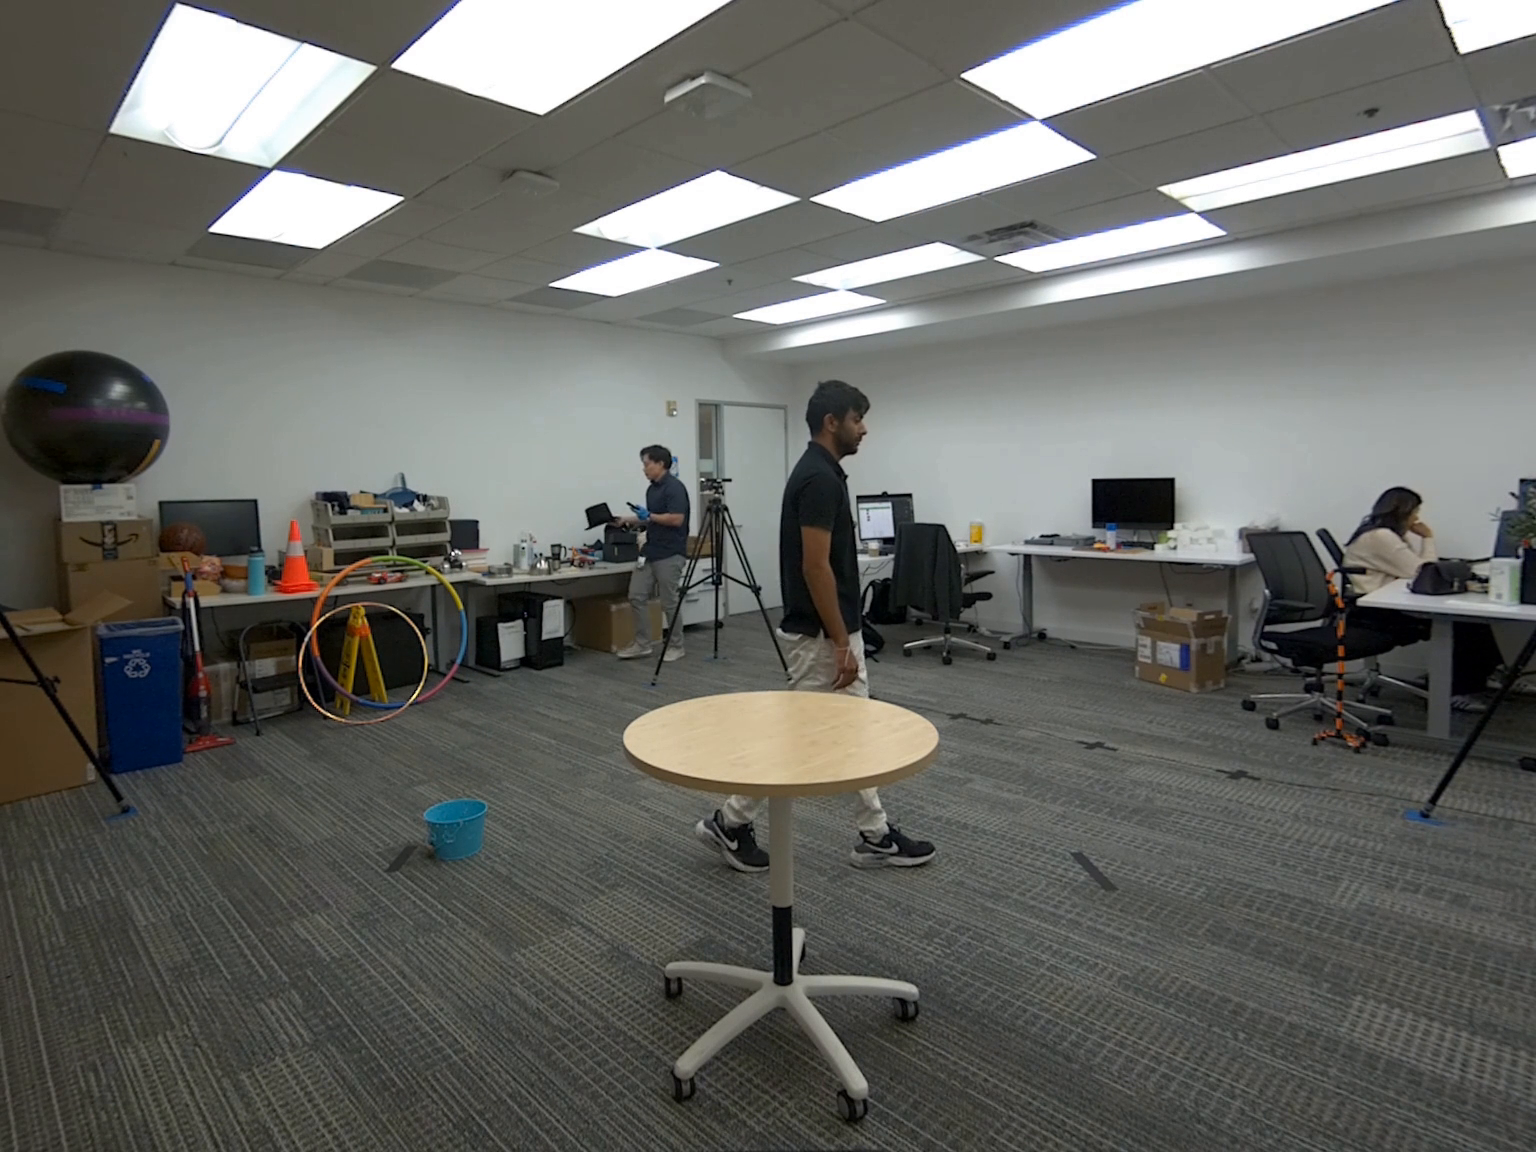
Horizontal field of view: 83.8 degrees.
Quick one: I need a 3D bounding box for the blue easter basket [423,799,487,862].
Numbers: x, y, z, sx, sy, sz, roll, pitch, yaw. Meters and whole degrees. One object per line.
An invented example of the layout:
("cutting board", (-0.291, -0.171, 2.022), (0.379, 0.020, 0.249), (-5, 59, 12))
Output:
("blue easter basket", (-1.192, 0.967, 3.281), (0.243, 0.155, 0.245), (-1, 6, -2))
